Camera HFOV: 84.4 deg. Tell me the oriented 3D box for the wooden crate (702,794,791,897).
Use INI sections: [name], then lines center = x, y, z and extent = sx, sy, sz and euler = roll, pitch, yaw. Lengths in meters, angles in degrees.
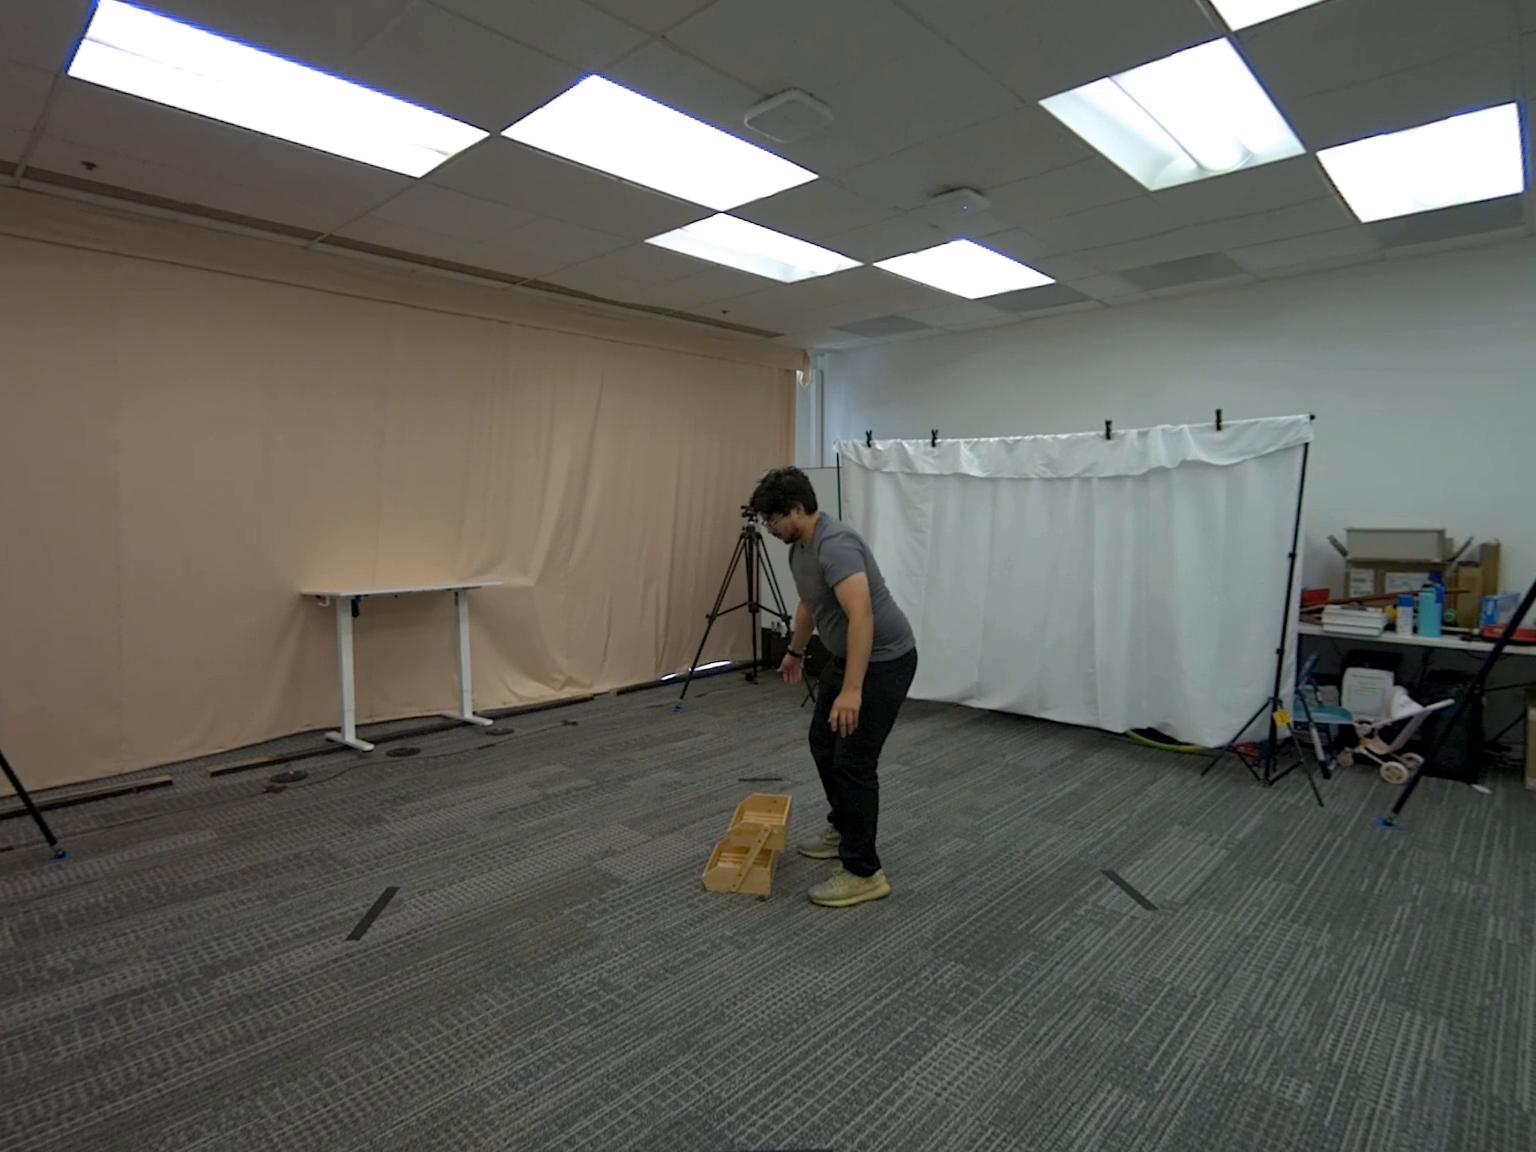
[wooden crate]
center = -0.079, 1.004, 3.174
extent = 0.305, 0.273, 0.322
euler = 0, 4, 7
